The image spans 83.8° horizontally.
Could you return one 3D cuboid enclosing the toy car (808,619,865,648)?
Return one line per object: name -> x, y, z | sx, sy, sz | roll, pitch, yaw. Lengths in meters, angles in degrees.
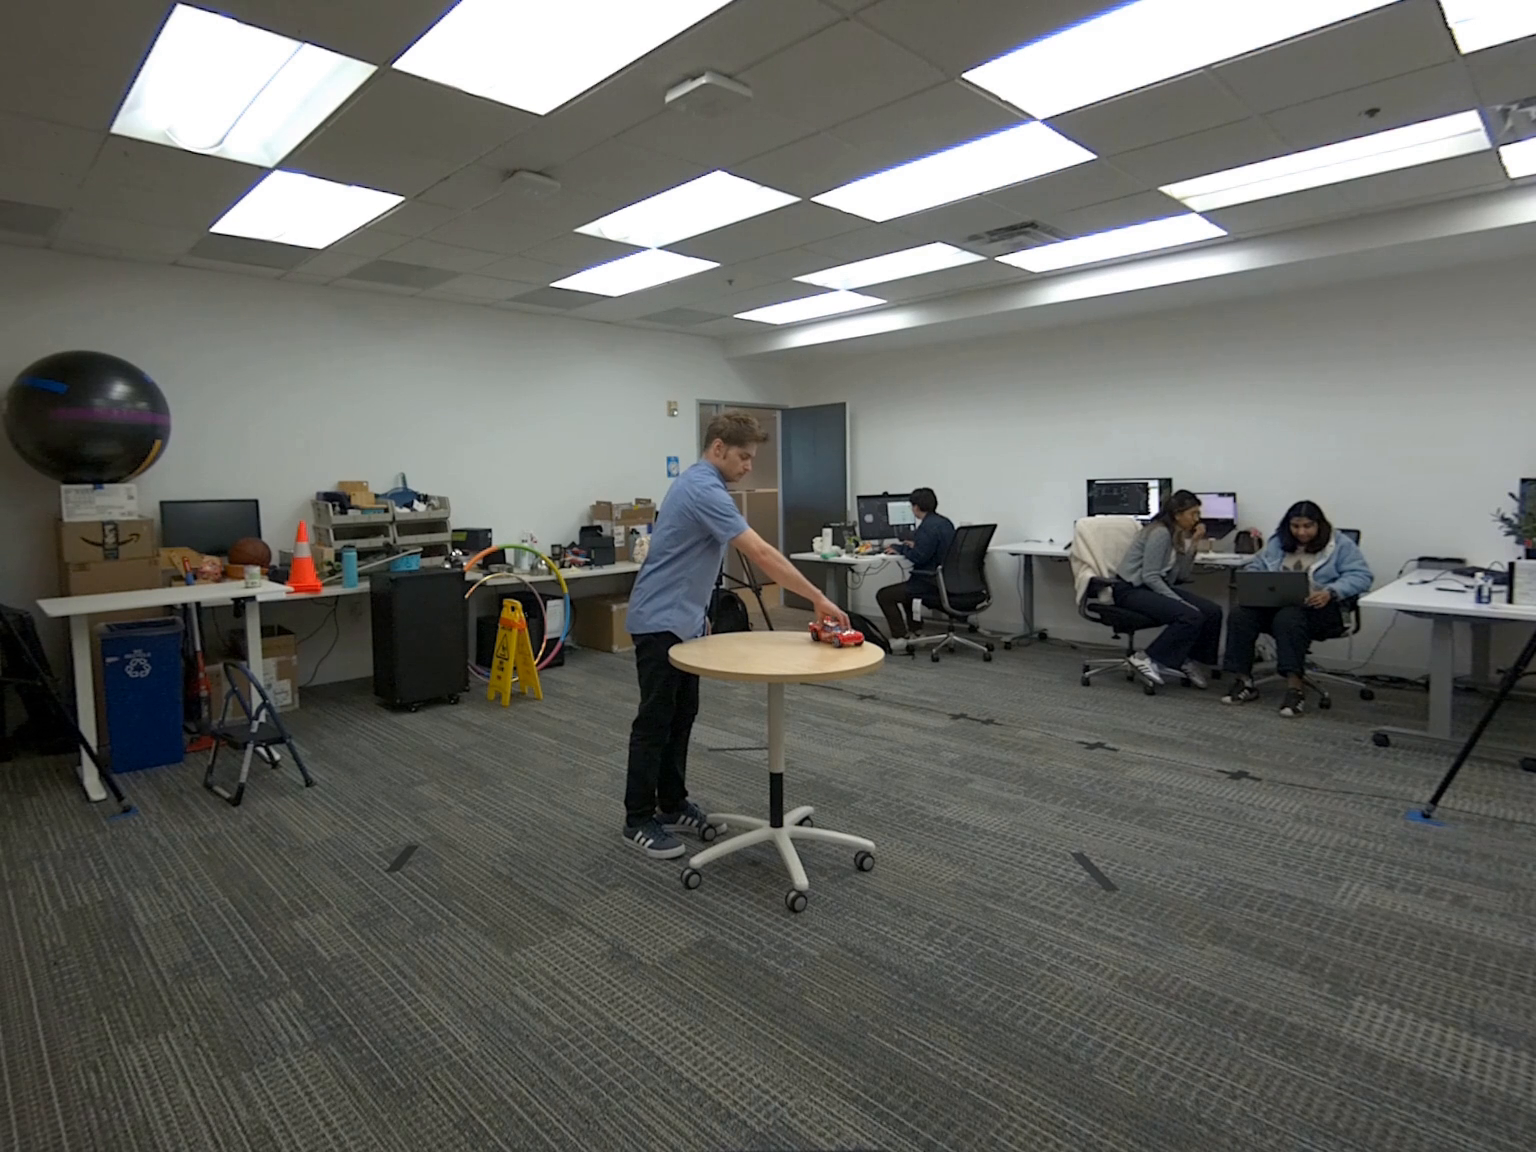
toy car -> 0.241, 0.217, 3.196 | 0.127, 0.082, 0.263 | -4, 18, -26
